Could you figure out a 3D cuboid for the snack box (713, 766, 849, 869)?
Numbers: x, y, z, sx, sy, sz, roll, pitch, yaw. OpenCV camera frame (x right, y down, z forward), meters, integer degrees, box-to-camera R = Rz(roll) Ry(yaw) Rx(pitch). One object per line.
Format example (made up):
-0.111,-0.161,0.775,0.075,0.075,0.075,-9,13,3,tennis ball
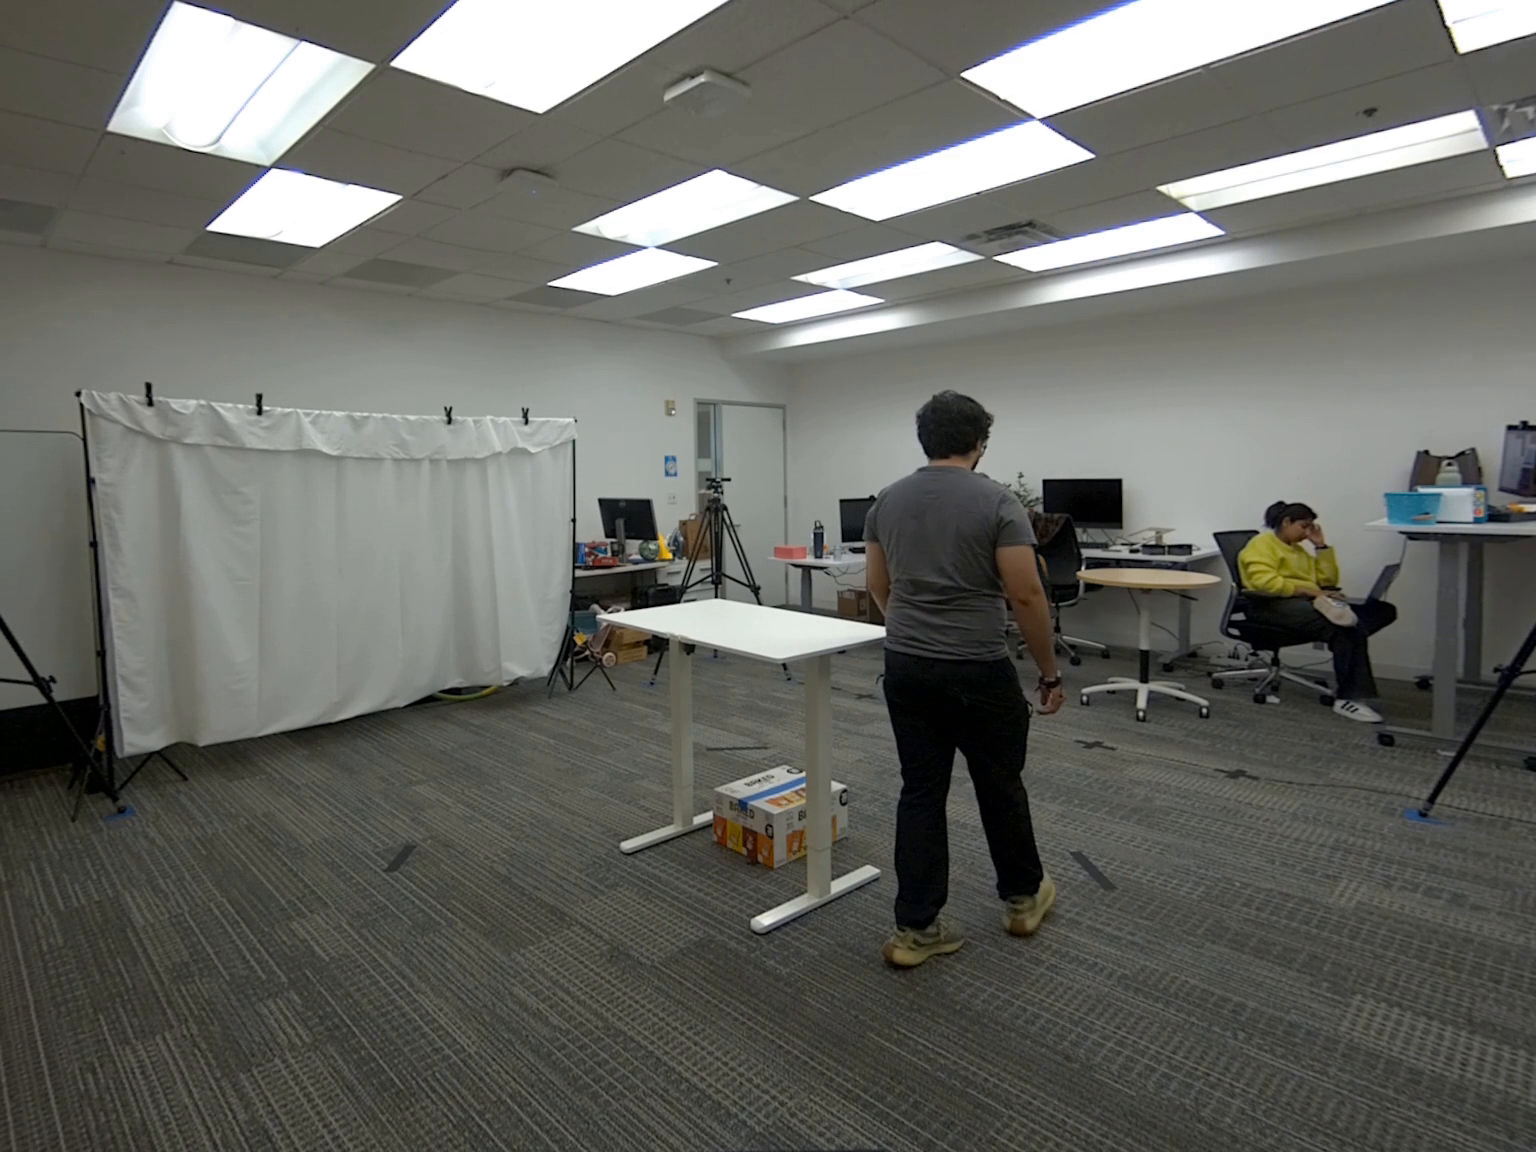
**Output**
0.049,0.919,3.300,0.394,0.205,0.351,-7,8,-43,snack box
